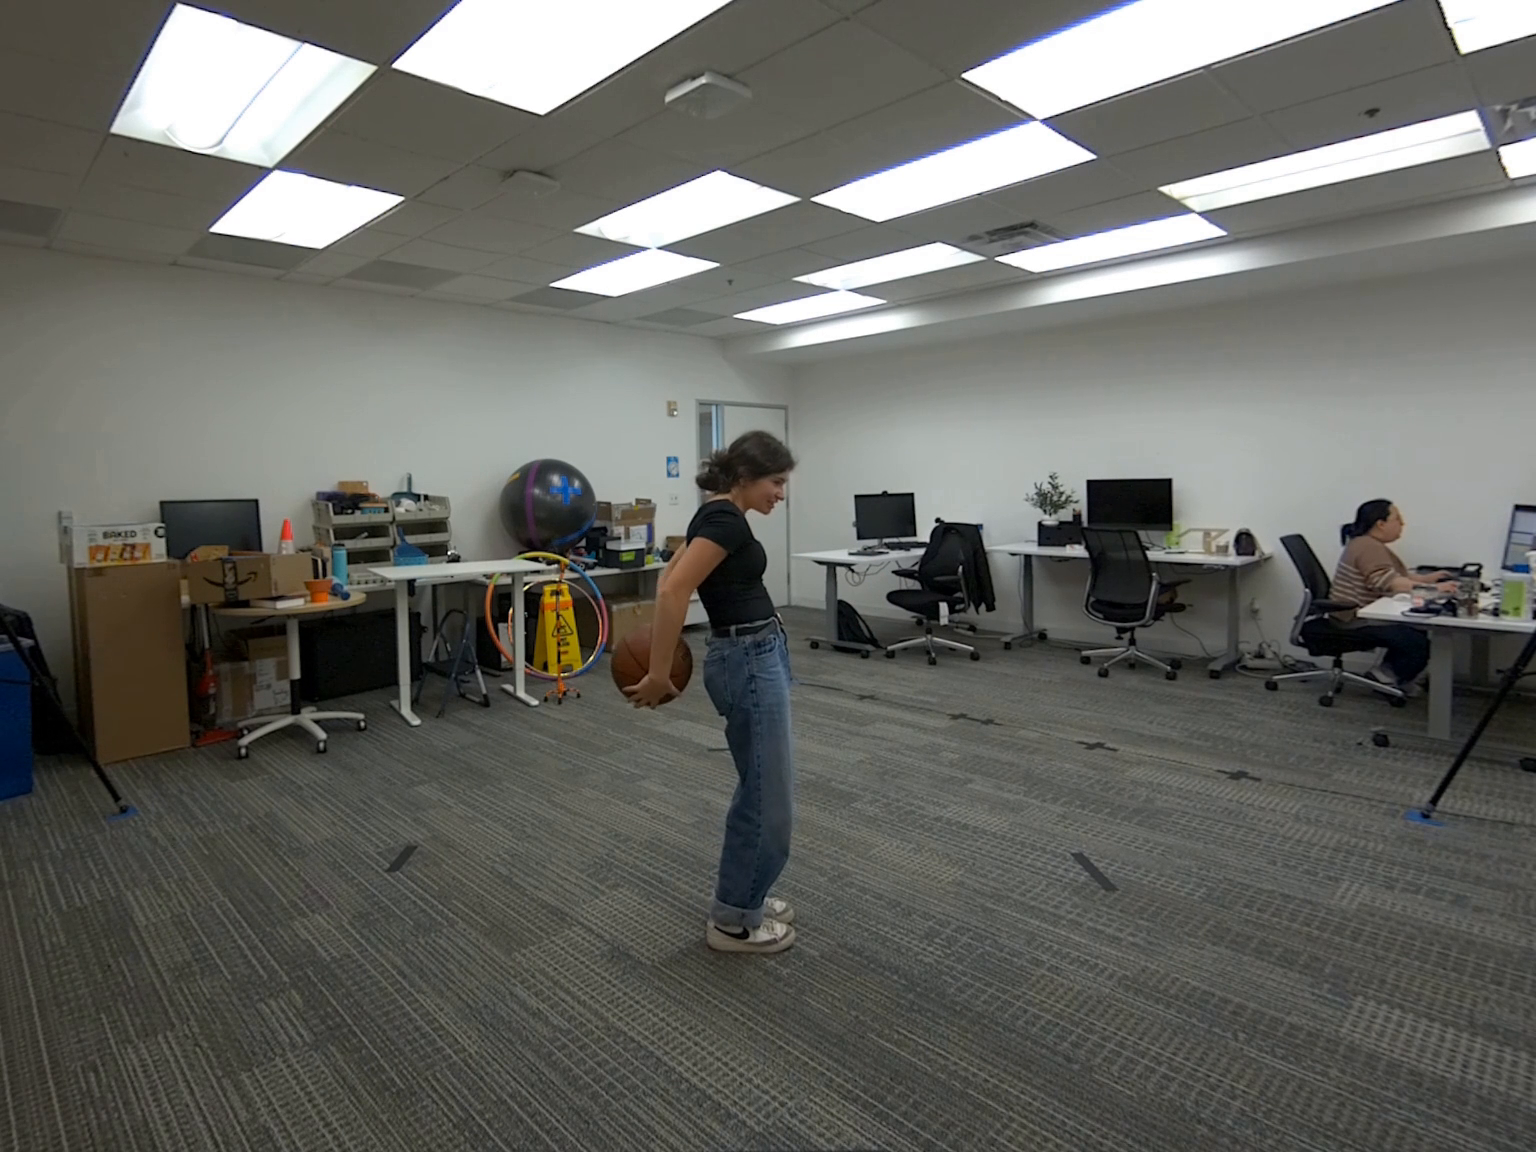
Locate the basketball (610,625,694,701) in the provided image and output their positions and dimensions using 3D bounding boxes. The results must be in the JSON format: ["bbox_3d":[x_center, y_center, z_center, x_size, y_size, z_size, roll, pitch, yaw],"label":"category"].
[{"bbox_3d":[-0.317,0.249,2.487,0.236,0.235,0.237,-1,5,-2],"label":"basketball"}]
